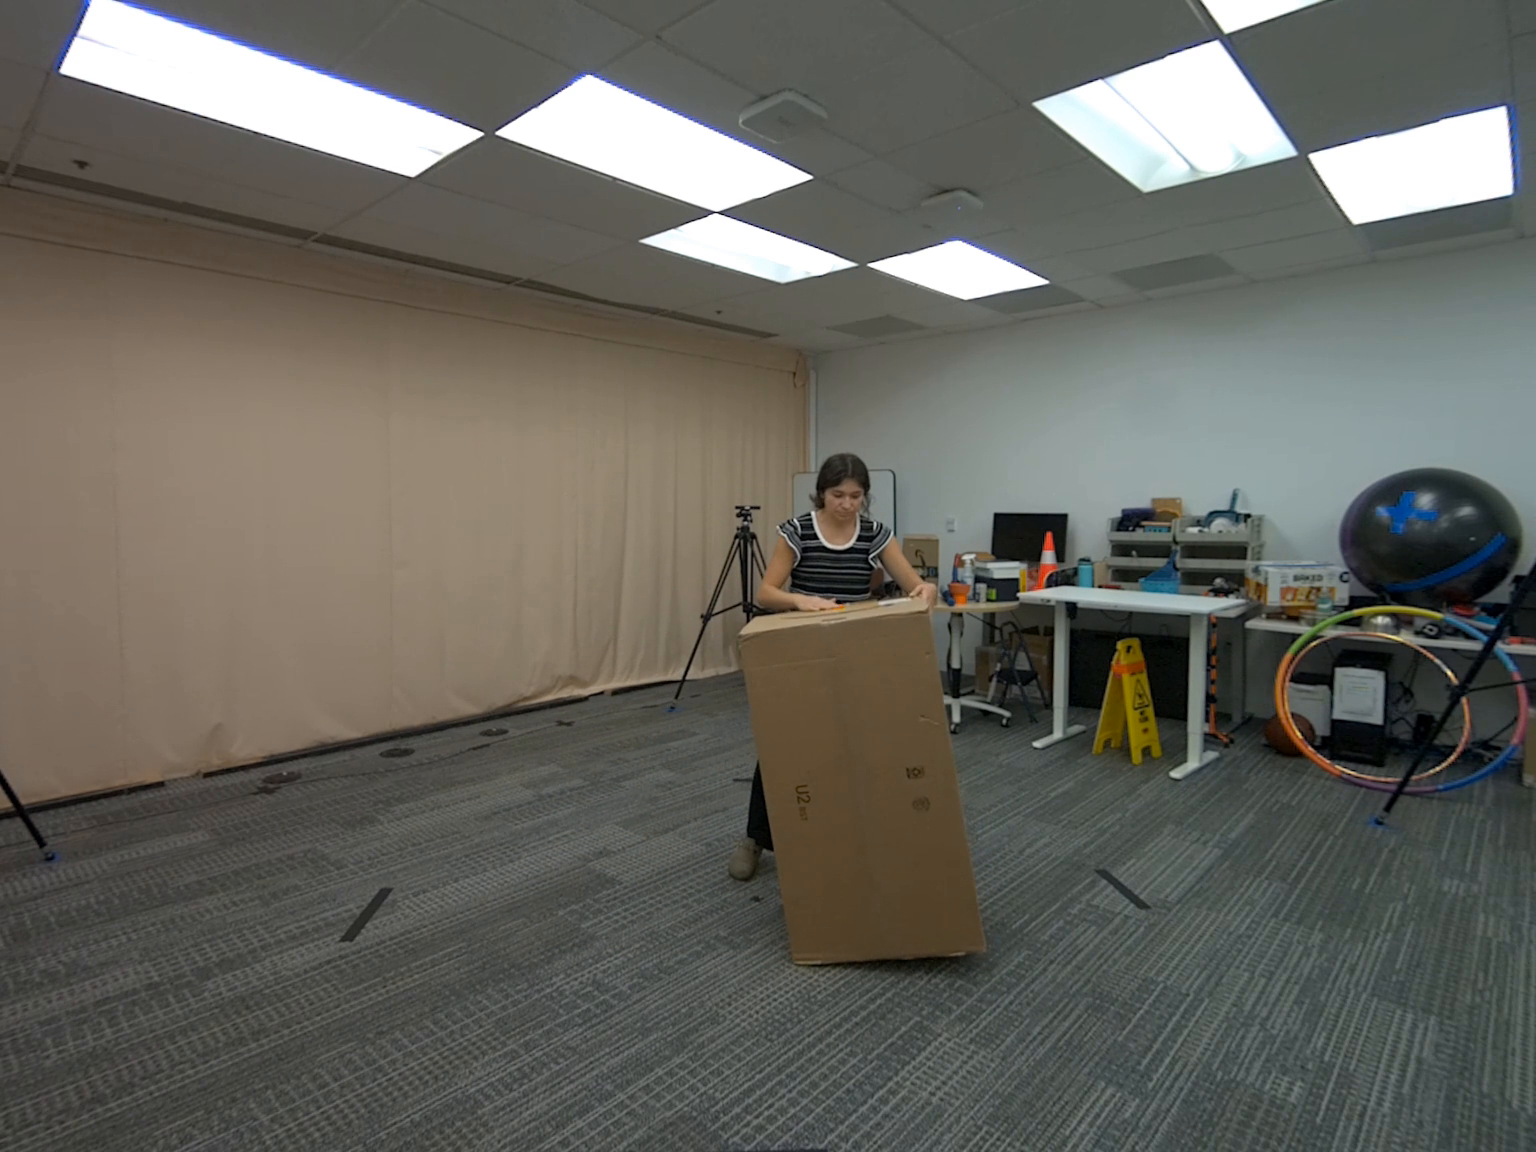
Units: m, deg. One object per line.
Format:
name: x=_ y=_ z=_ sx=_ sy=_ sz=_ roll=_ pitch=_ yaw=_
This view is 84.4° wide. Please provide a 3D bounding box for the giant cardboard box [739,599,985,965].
giant cardboard box: x=0.308 y=0.627 z=2.695 sx=0.583 sy=1.024 sz=0.423 roll=-9 pitch=2 yaw=9
